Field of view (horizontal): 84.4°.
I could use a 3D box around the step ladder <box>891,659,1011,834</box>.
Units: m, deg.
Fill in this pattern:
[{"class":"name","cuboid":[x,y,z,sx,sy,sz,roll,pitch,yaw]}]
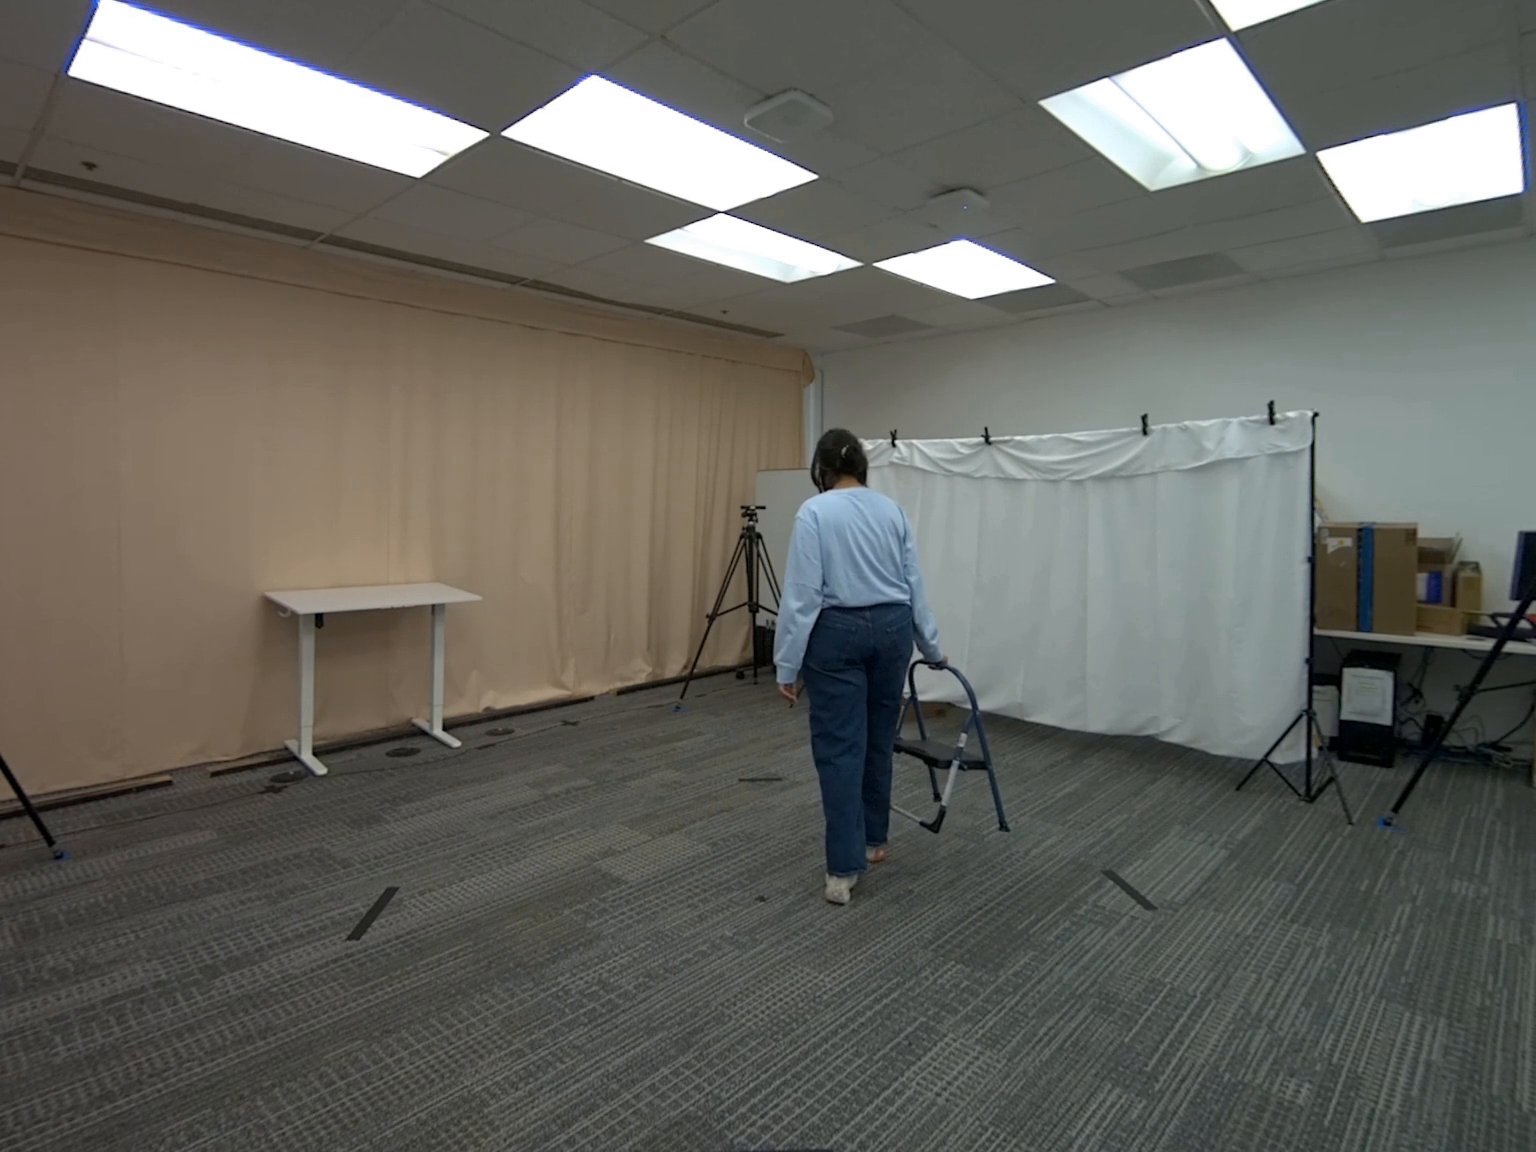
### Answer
[{"class":"step ladder","cuboid":[0.701,0.647,3.319,0.340,0.607,0.441,5,-2,-26]}]
